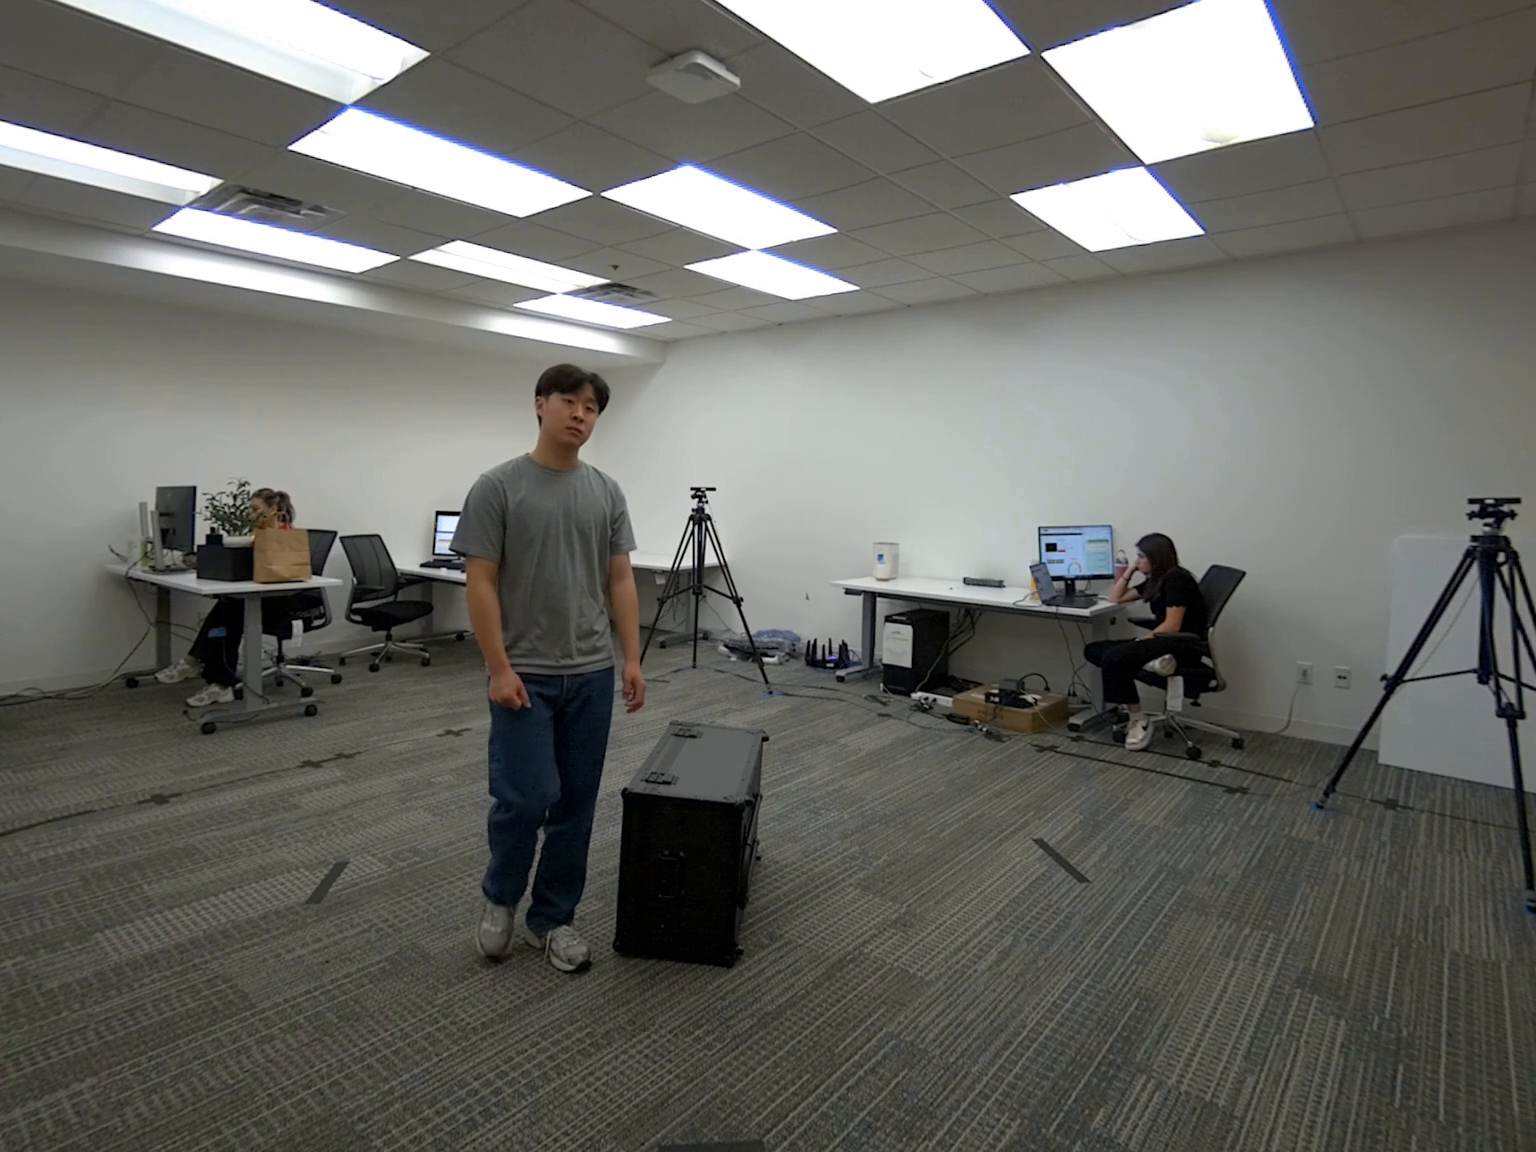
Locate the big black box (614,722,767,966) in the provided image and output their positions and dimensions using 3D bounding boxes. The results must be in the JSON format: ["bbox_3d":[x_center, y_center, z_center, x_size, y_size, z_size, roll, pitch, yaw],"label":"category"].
[{"bbox_3d":[-0.229,0.845,2.825,0.399,0.519,0.859,3,6,5],"label":"big black box"}]
